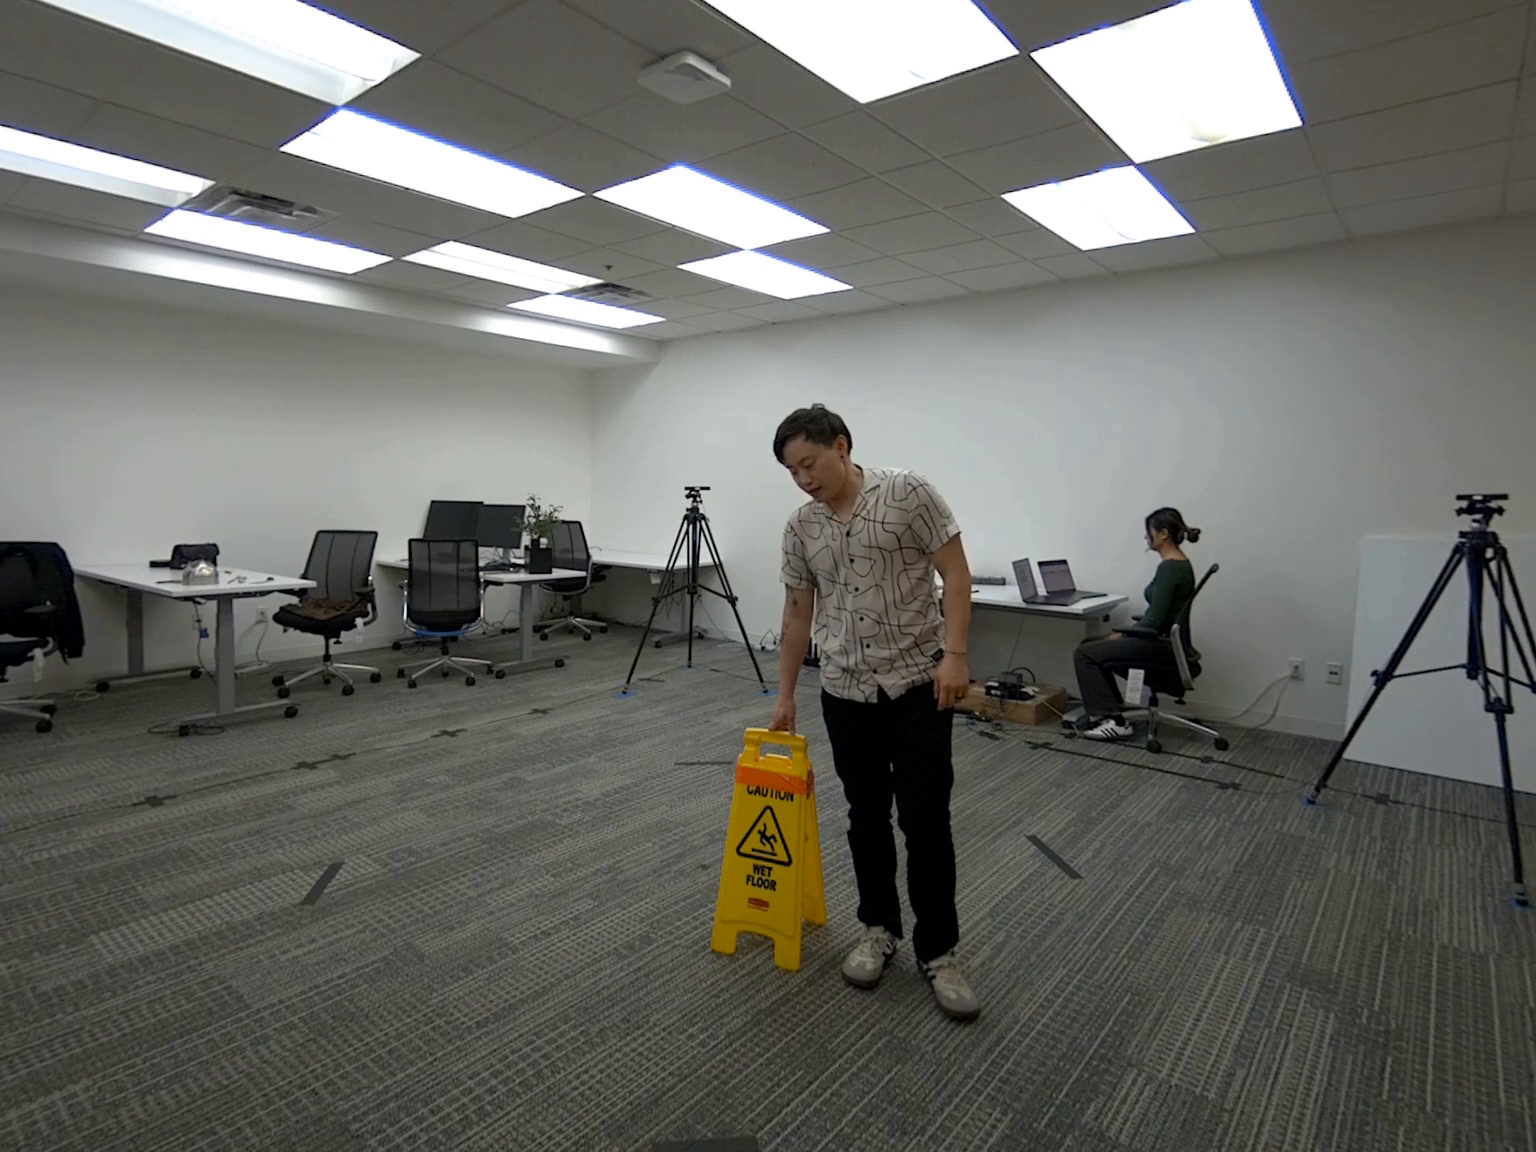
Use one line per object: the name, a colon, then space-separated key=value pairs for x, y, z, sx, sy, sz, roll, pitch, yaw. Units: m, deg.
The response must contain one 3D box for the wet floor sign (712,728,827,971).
wet floor sign: x=0.008 y=0.794 z=2.626 sx=0.289 sy=0.645 sz=0.283 roll=3 pitch=3 yaw=22
